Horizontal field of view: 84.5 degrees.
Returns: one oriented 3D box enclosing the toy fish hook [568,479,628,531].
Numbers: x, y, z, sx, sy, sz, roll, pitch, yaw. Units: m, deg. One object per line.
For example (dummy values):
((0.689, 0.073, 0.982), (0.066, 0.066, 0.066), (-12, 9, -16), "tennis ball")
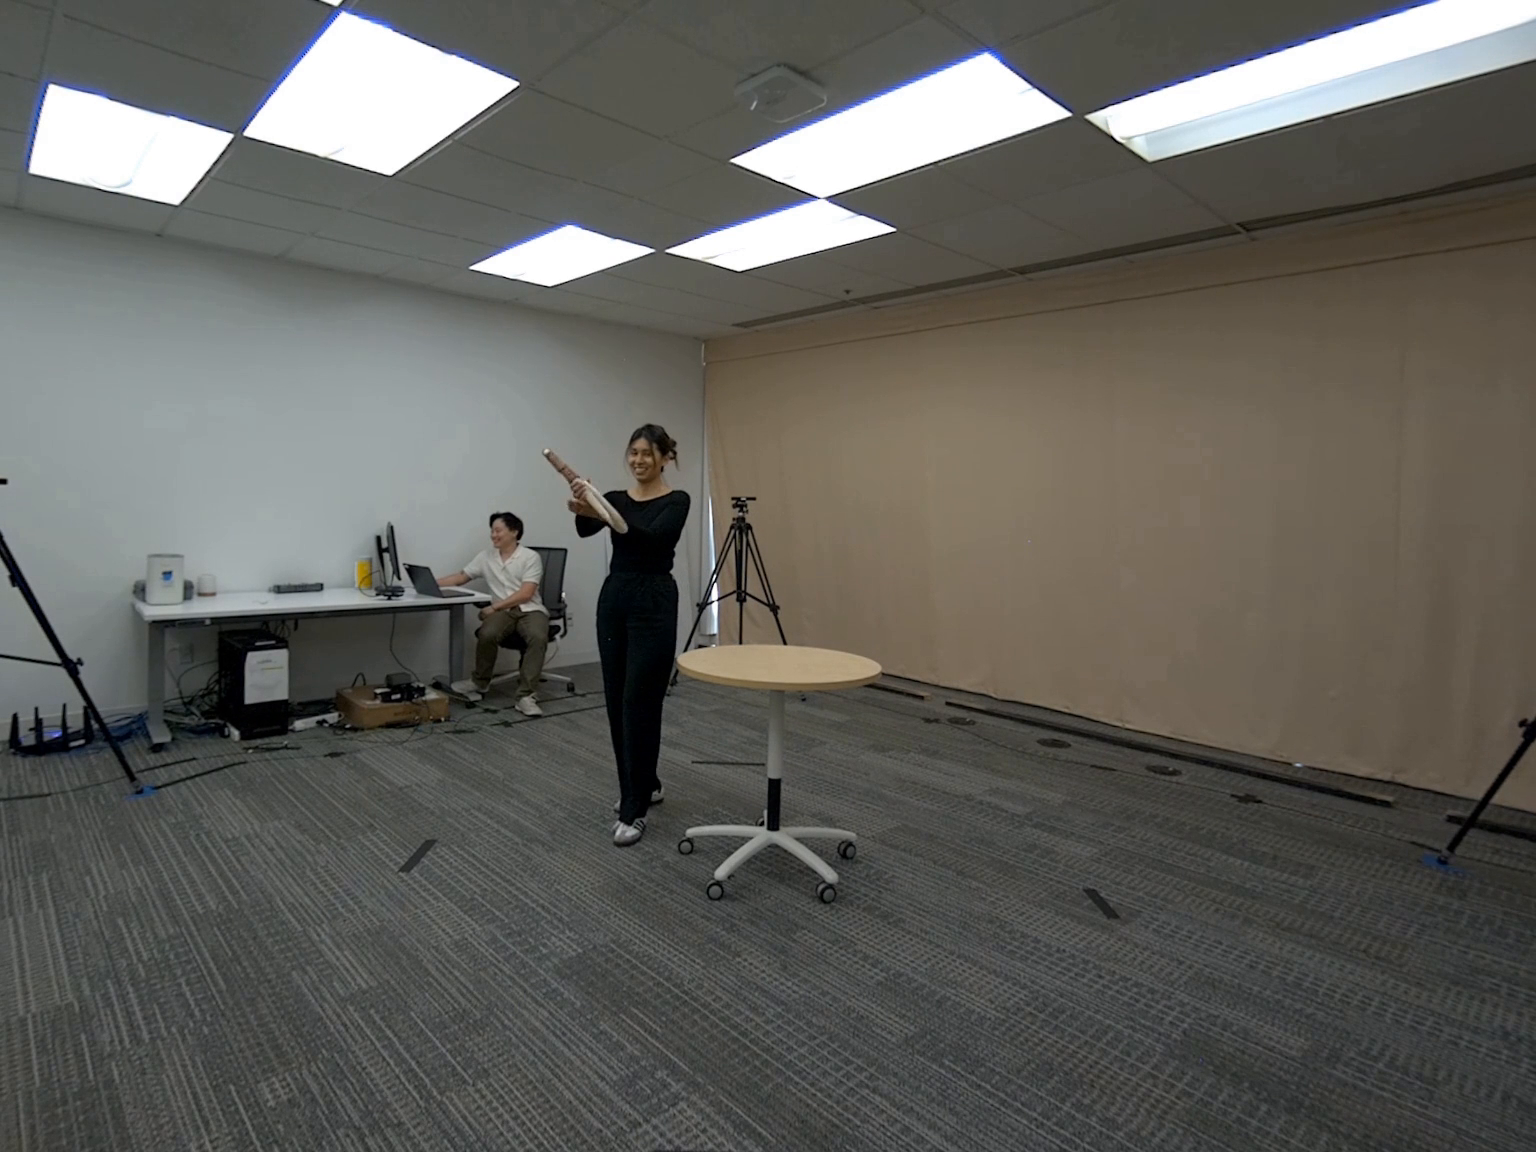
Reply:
((-0.717, -0.346, 3.075), (0.048, 0.518, 0.220), (-38, -23, -17), "toy fish hook")
